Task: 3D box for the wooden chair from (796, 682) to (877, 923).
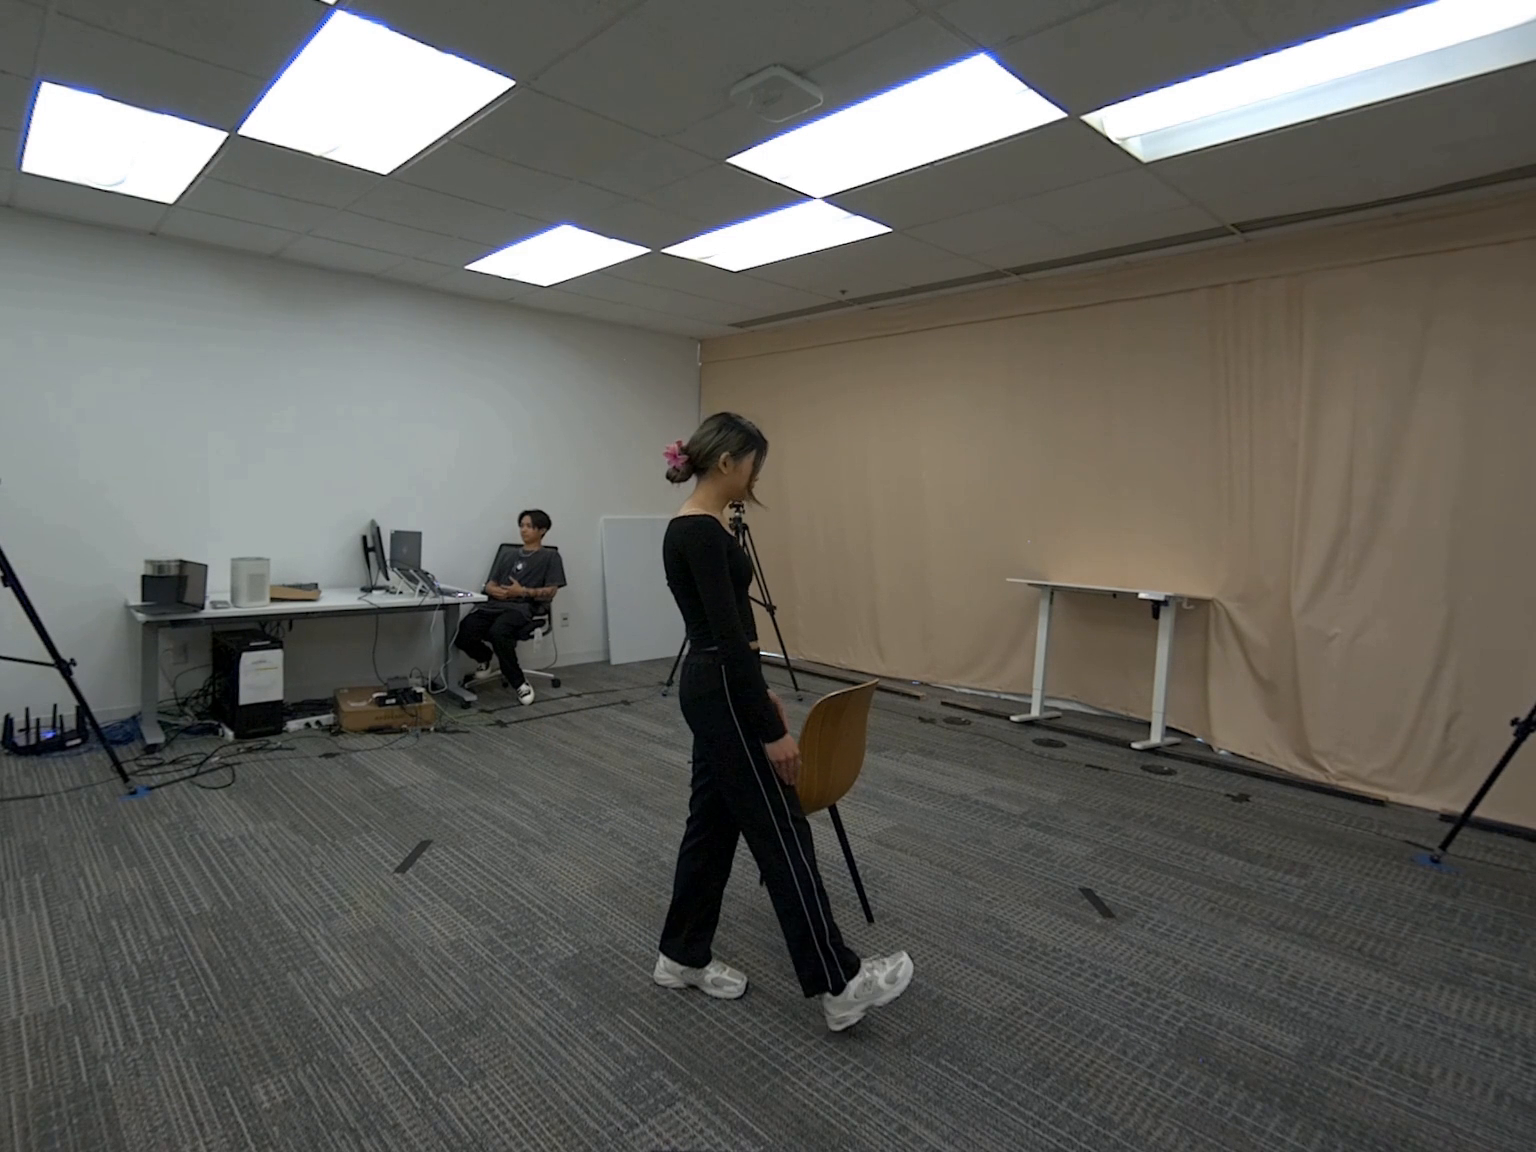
[{"bbox_3d":[0.040,0.721,2.716,0.537,0.873,0.468,10,8,35],"label":"wooden chair"}]
